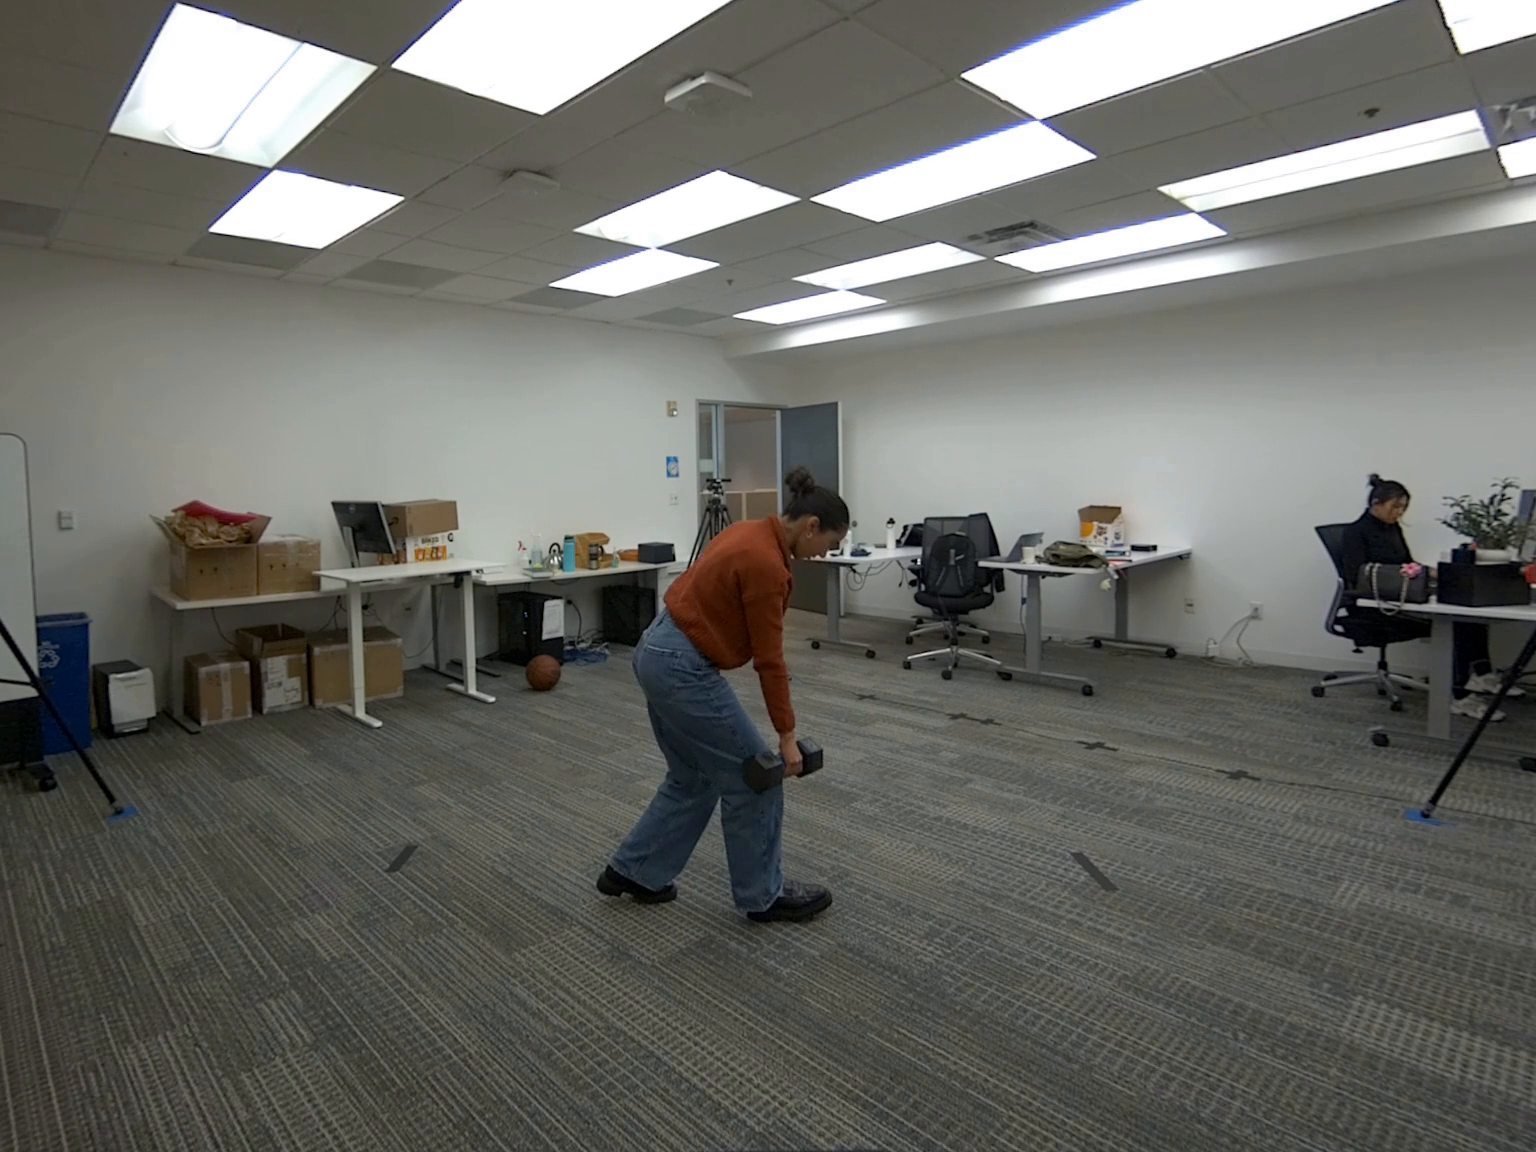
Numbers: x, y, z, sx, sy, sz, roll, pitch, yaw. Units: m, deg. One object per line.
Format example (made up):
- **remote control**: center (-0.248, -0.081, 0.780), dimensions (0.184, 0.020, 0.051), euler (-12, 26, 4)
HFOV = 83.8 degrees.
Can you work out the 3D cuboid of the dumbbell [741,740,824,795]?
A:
- **dumbbell**: center (0.052, 0.586, 2.629), dimensions (0.112, 0.123, 0.286), euler (0, 4, 42)
